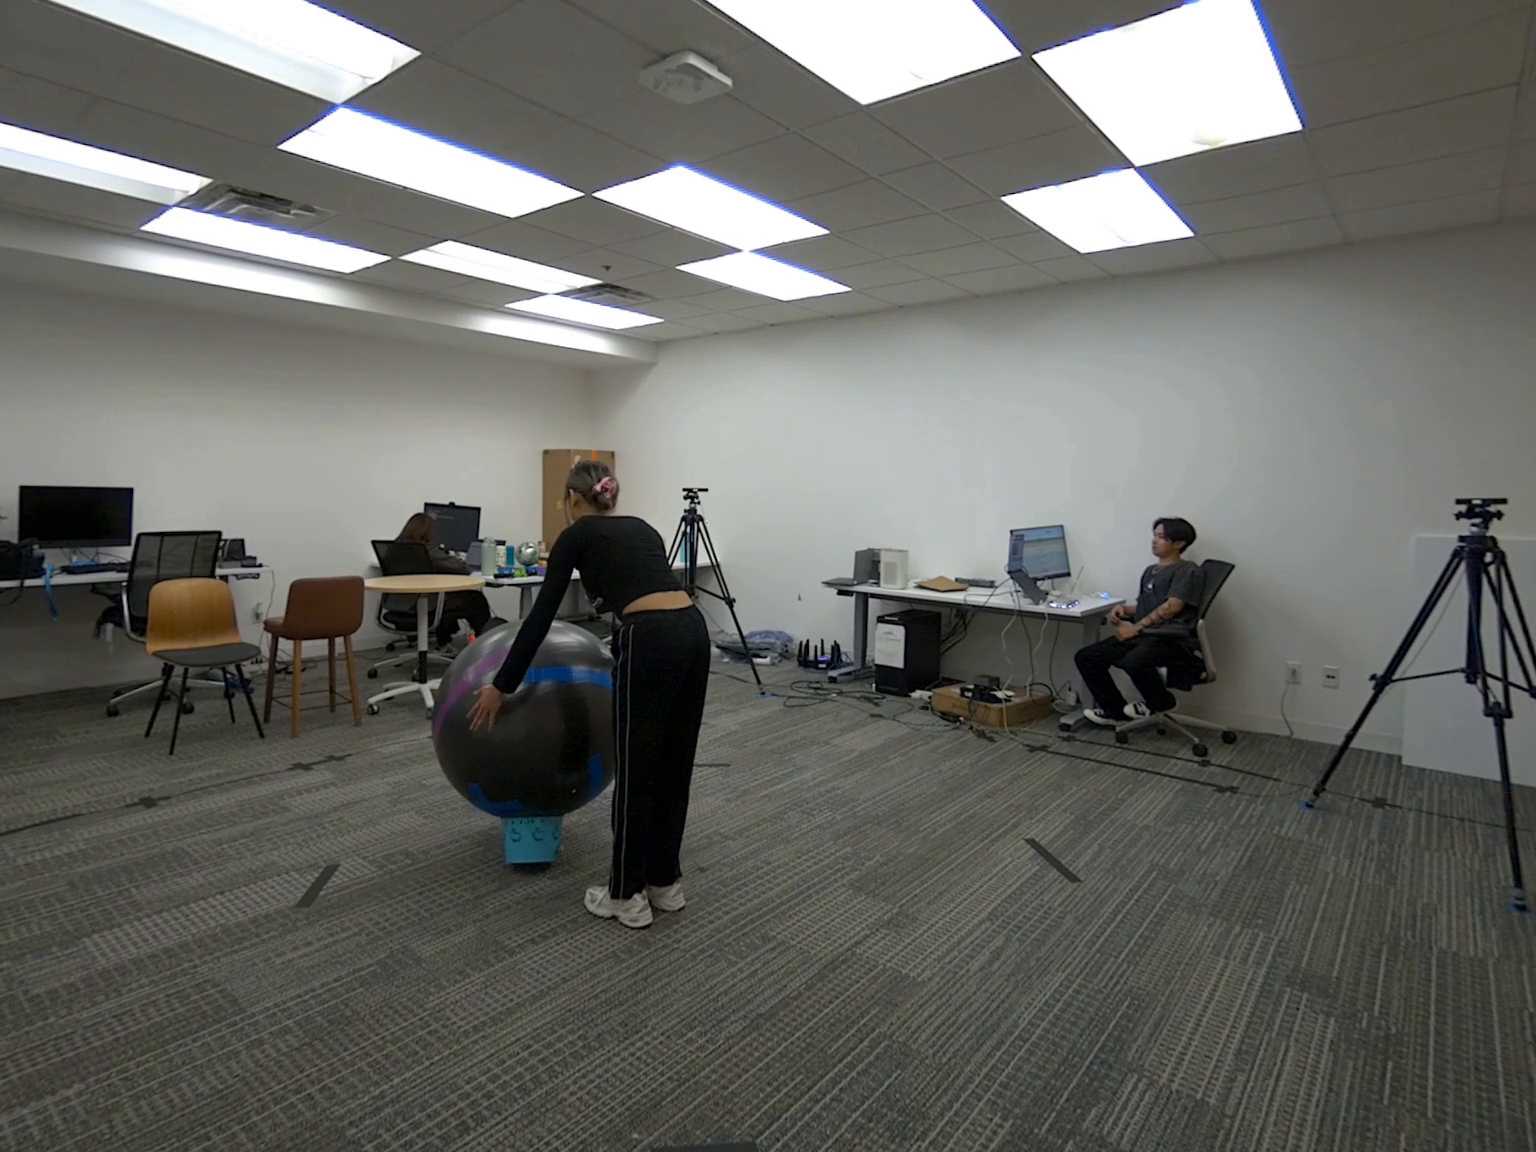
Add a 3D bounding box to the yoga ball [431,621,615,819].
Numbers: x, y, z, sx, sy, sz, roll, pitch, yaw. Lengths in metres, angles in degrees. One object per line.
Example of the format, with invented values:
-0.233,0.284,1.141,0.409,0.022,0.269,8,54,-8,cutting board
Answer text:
-0.906,0.544,3.251,0.757,0.755,0.762,1,4,-2,yoga ball
